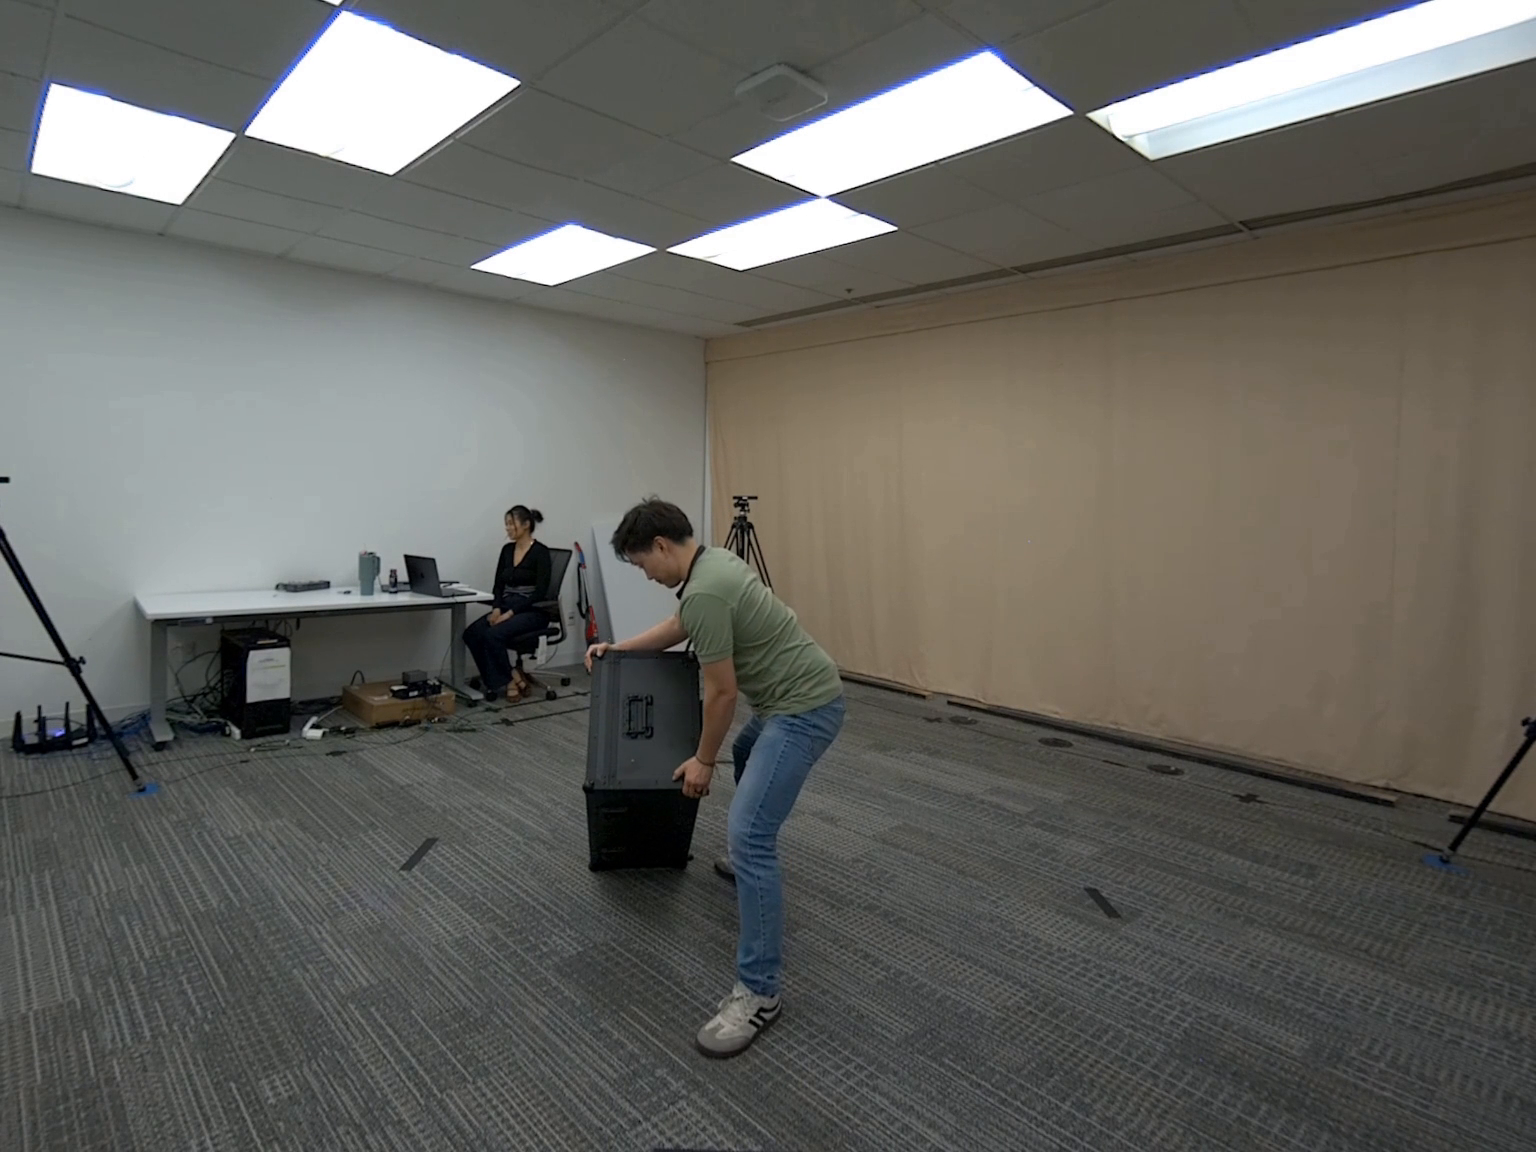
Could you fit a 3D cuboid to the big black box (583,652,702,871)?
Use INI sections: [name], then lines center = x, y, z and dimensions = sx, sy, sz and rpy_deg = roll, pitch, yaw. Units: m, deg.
[big black box]
center = -0.444, 0.689, 3.004
dimensions = 0.393, 0.533, 0.848
rpy_deg = 2, -36, -9
